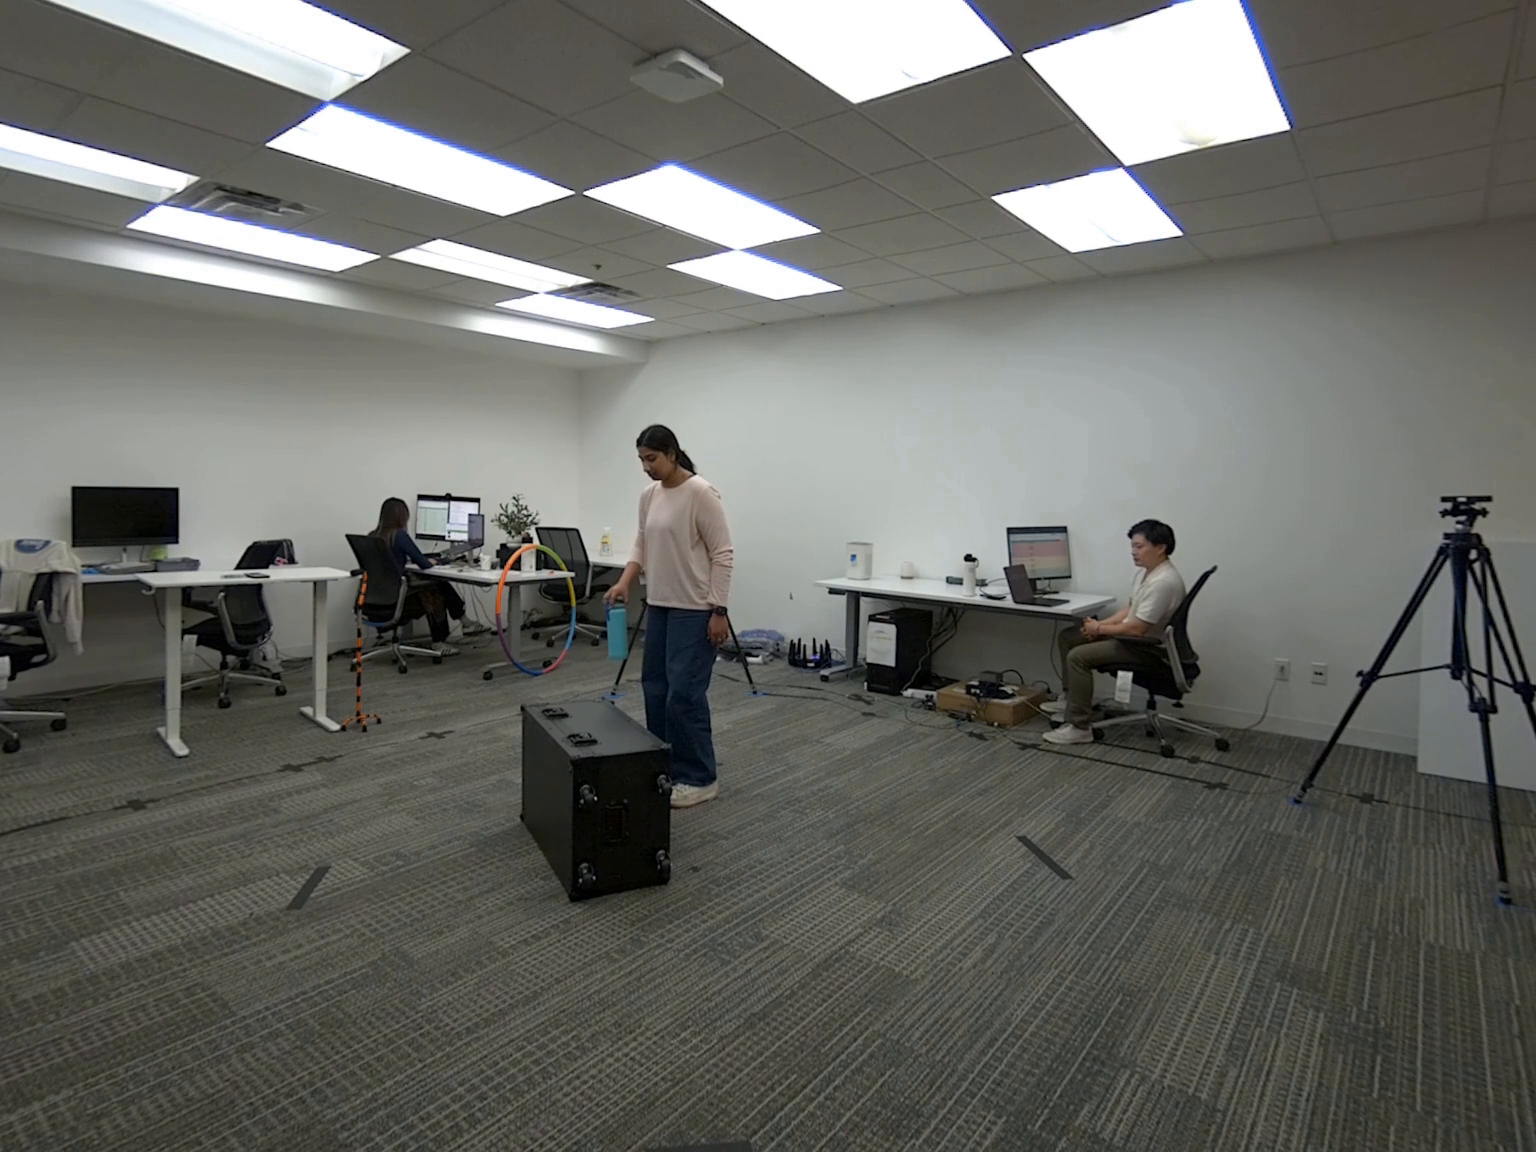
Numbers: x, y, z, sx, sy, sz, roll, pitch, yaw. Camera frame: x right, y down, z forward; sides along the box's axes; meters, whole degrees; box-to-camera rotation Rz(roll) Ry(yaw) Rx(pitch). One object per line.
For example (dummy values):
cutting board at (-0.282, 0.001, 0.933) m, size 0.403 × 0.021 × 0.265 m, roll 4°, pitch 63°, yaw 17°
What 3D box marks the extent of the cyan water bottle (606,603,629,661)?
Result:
cyan water bottle at (-0.704, 0.236, 3.889) m, size 0.092 × 0.284 × 0.092 m, roll -3°, pitch -2°, yaw -2°
